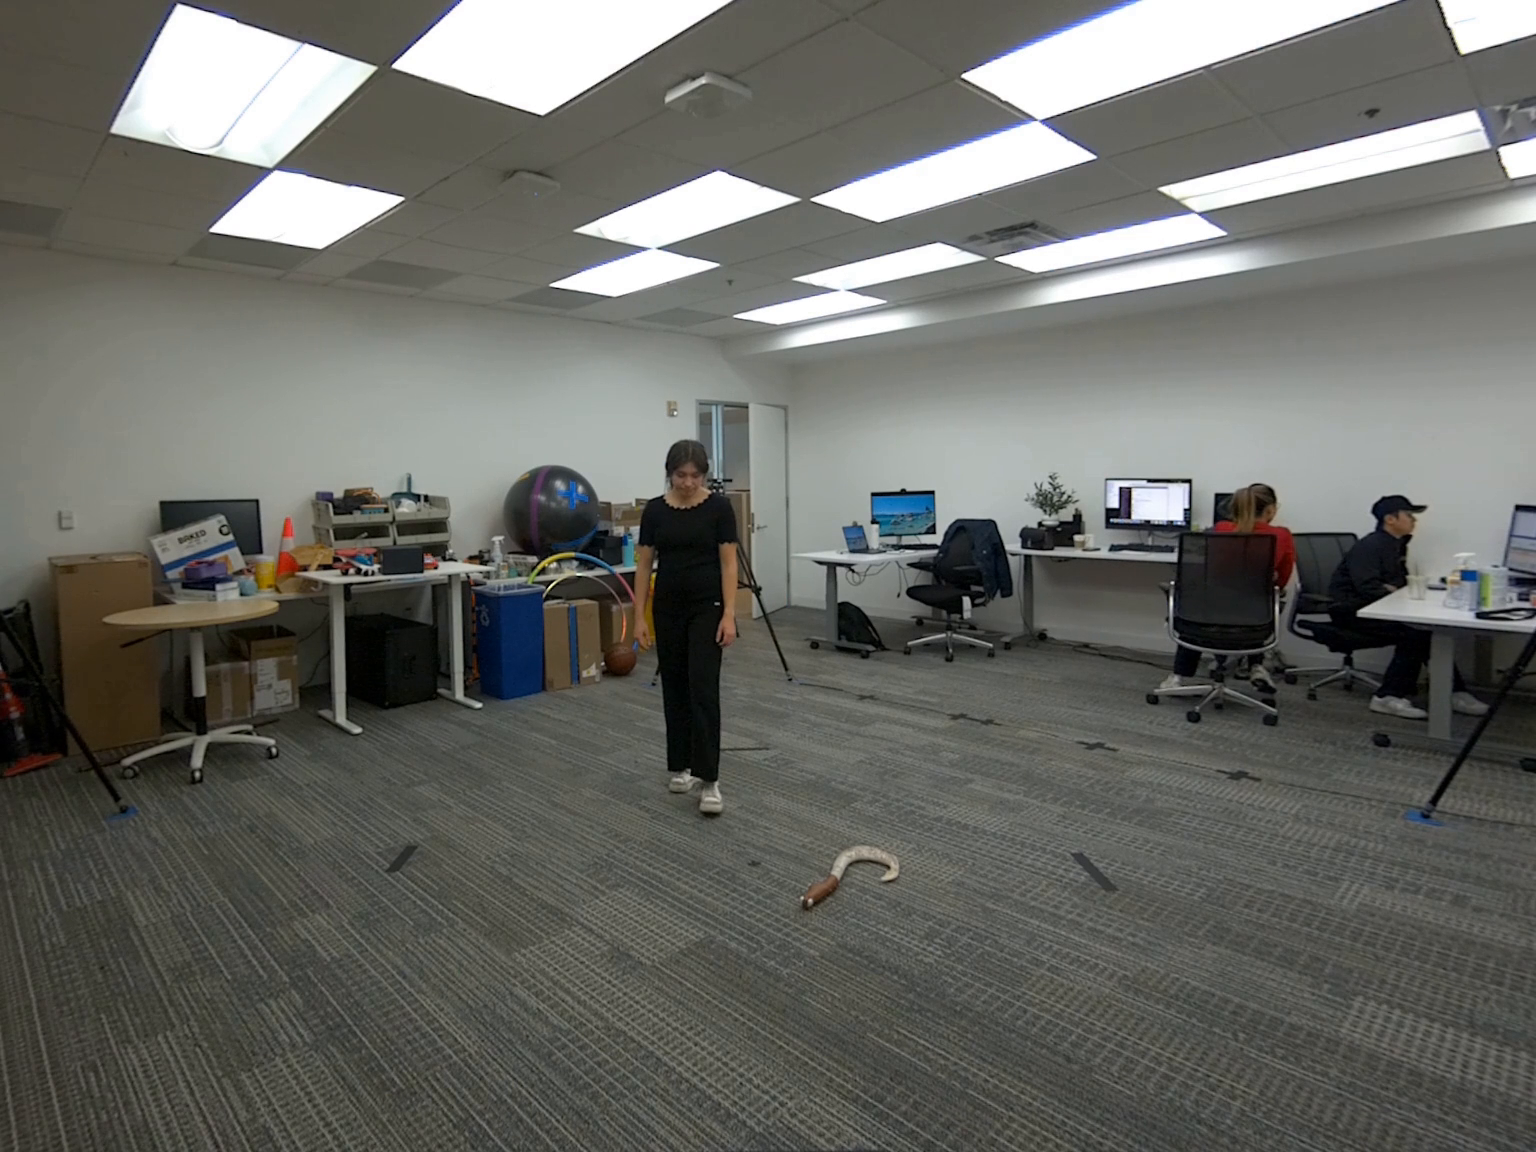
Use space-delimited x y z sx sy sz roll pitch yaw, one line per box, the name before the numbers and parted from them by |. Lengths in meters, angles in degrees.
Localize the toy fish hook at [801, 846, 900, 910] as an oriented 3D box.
toy fish hook | 0.293 1.037 2.925 0.231 0.048 0.495 2 8 32
